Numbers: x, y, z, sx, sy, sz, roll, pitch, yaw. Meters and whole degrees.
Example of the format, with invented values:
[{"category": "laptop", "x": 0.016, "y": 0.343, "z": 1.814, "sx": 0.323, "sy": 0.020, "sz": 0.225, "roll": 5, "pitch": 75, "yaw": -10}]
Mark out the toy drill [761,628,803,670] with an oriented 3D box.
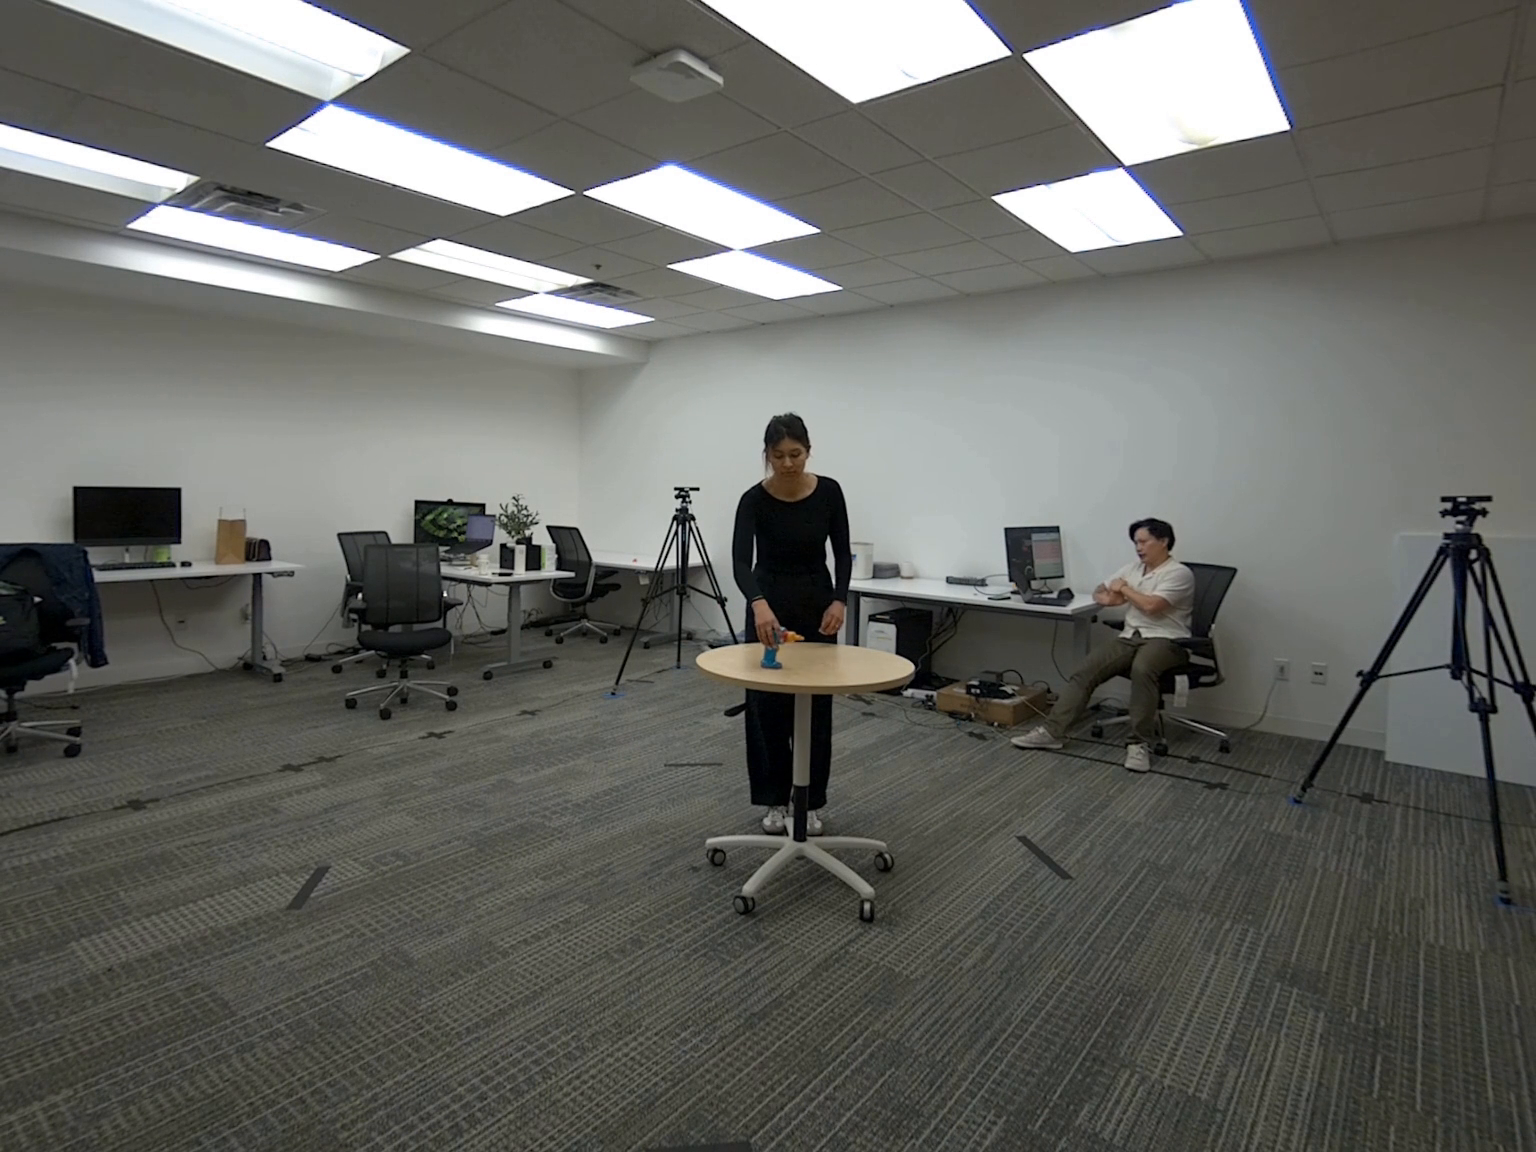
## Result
[{"category": "toy drill", "x": 0.034, "y": 0.238, "z": 2.879, "sx": 0.175, "sy": 0.146, "sz": 0.059, "roll": 4, "pitch": 2, "yaw": 36}]
